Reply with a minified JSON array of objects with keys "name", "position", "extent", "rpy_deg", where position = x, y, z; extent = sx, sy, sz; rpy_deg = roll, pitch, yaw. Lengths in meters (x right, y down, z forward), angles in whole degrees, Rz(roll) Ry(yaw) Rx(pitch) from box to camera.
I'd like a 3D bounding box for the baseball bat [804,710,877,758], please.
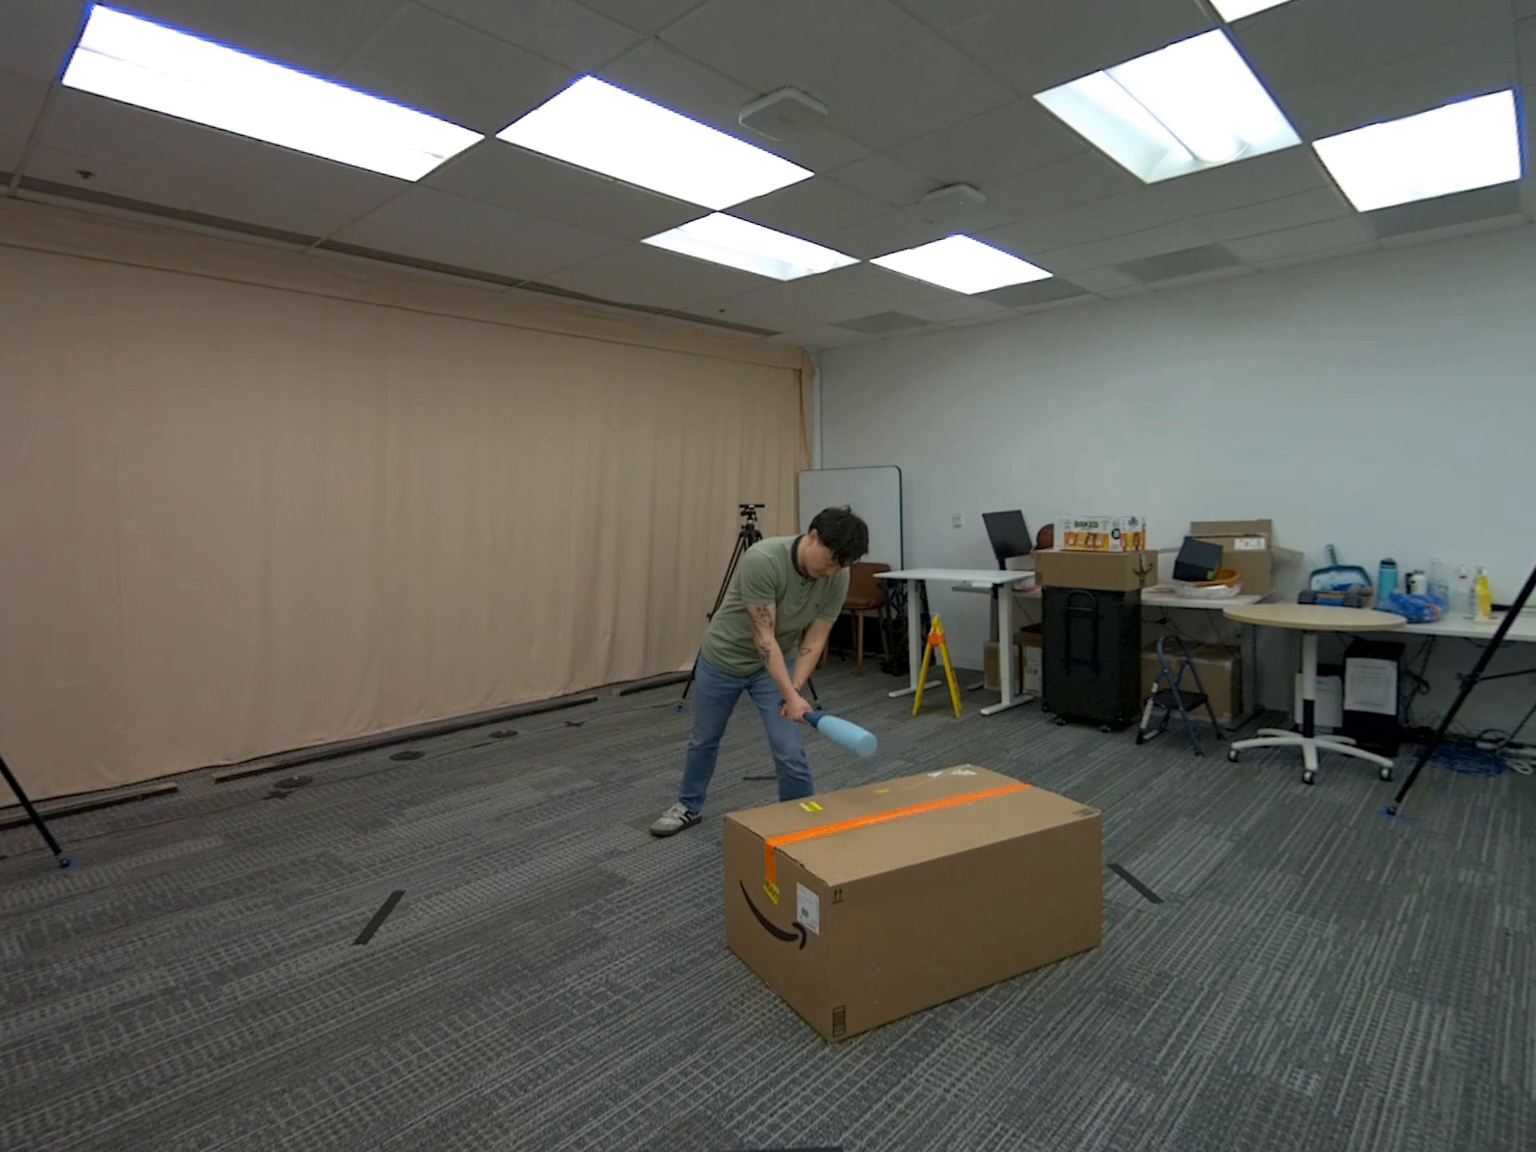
[{"name":"baseball bat","position":[0.187,0.479,2.874],"extent":[0.087,0.089,0.557],"rpy_deg":[-3,6,-26]}]
